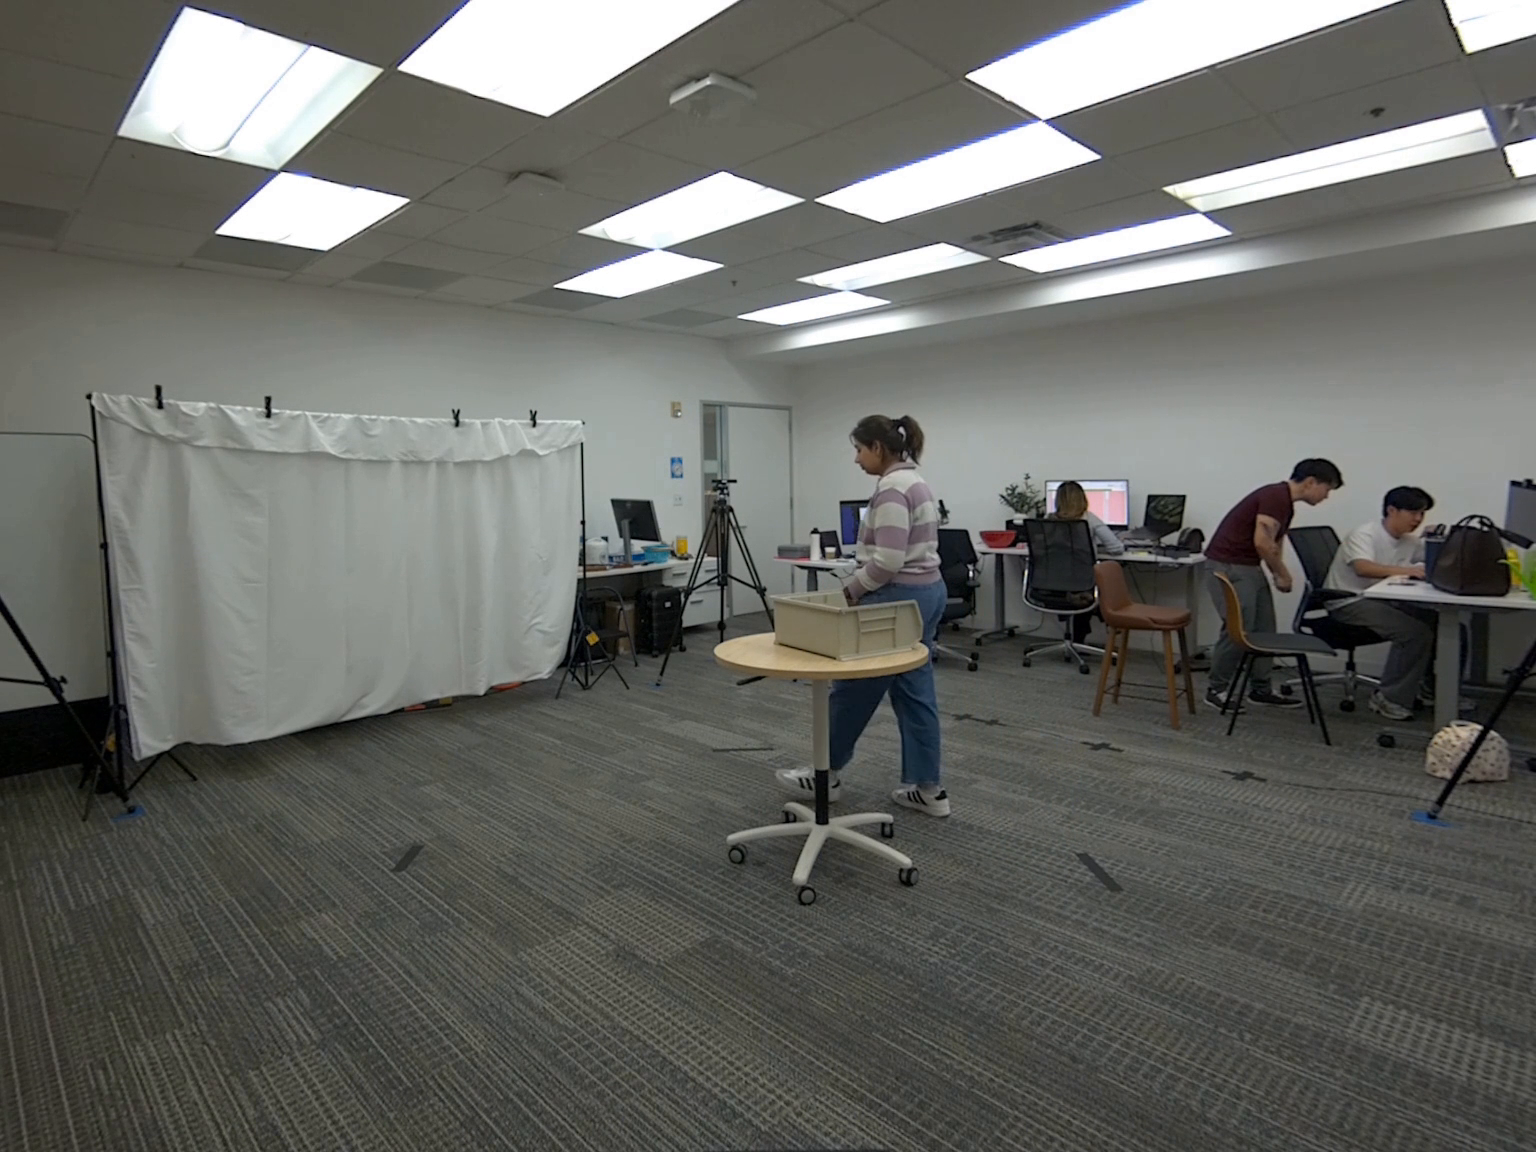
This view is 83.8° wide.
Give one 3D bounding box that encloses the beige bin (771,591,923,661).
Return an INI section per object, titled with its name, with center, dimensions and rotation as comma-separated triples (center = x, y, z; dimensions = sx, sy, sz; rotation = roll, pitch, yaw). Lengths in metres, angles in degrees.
[beige bin]
center = 0.278, 0.170, 3.101
dimensions = 0.369, 0.188, 0.434
rotation = -6, 8, -31
